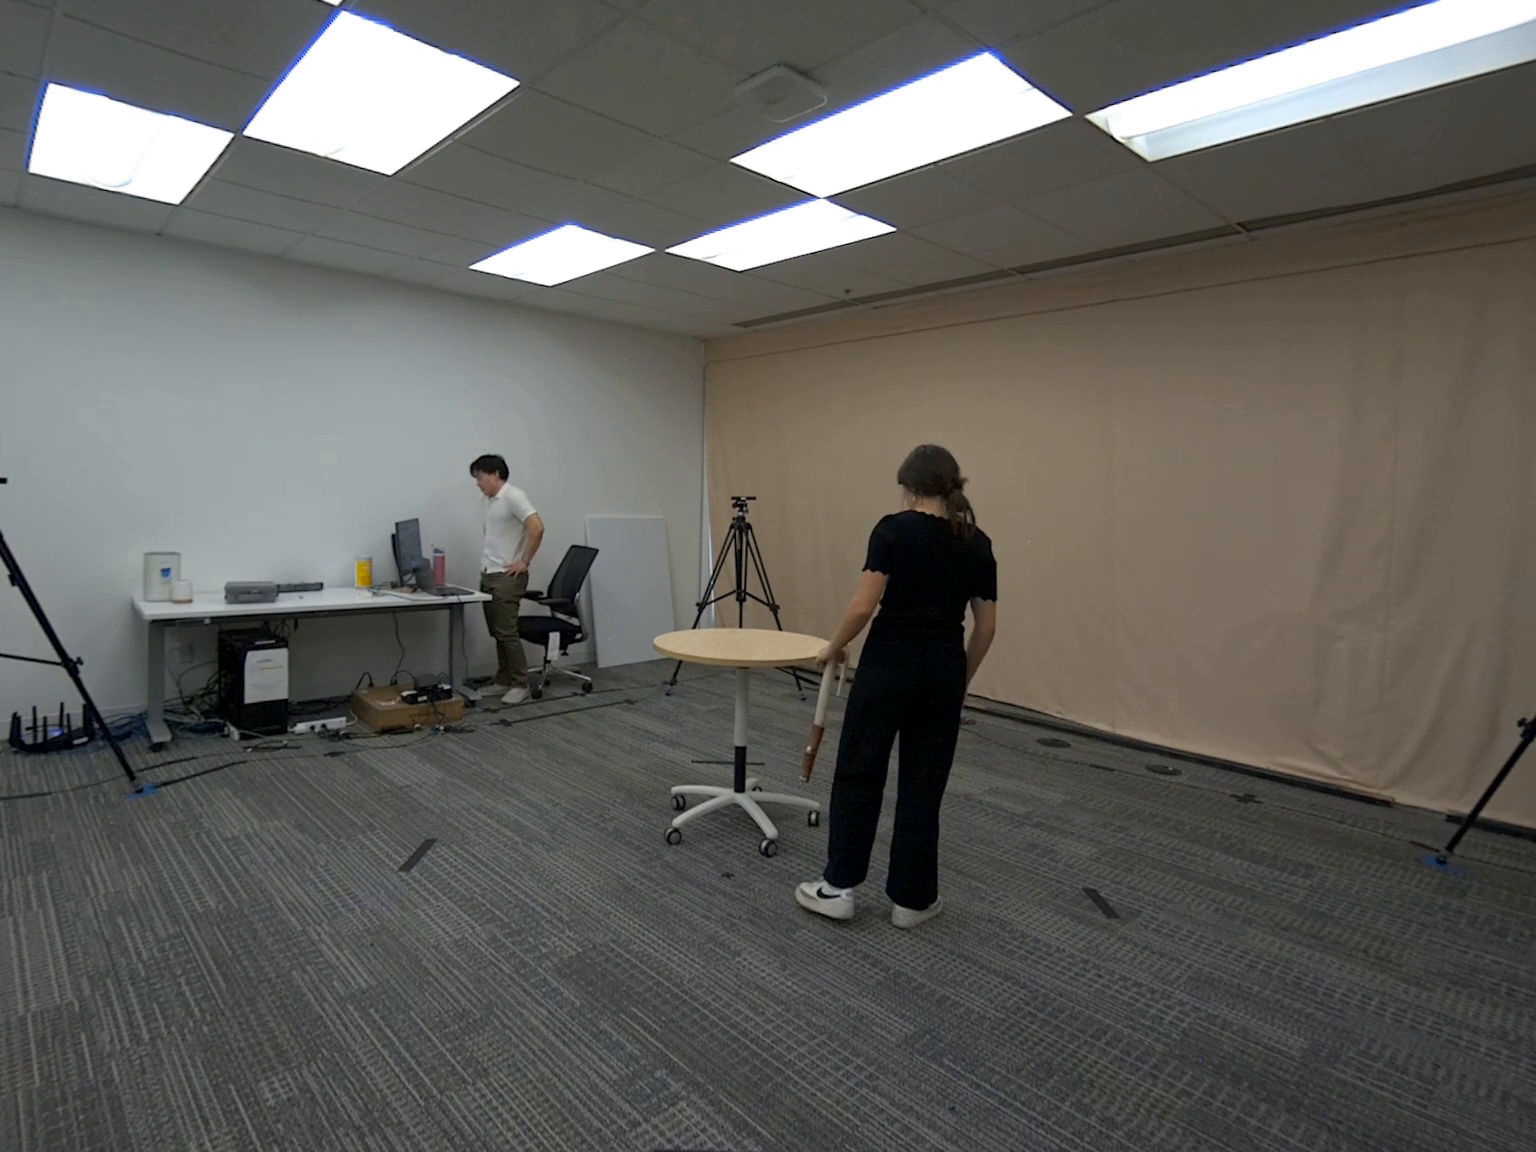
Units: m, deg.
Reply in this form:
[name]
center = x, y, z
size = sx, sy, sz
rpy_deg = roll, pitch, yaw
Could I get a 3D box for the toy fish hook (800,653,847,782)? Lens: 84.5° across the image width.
[toy fish hook]
center = 0.211, 0.477, 2.968
size = 0.049, 0.508, 0.218
rpy_deg = 11, -8, 27
